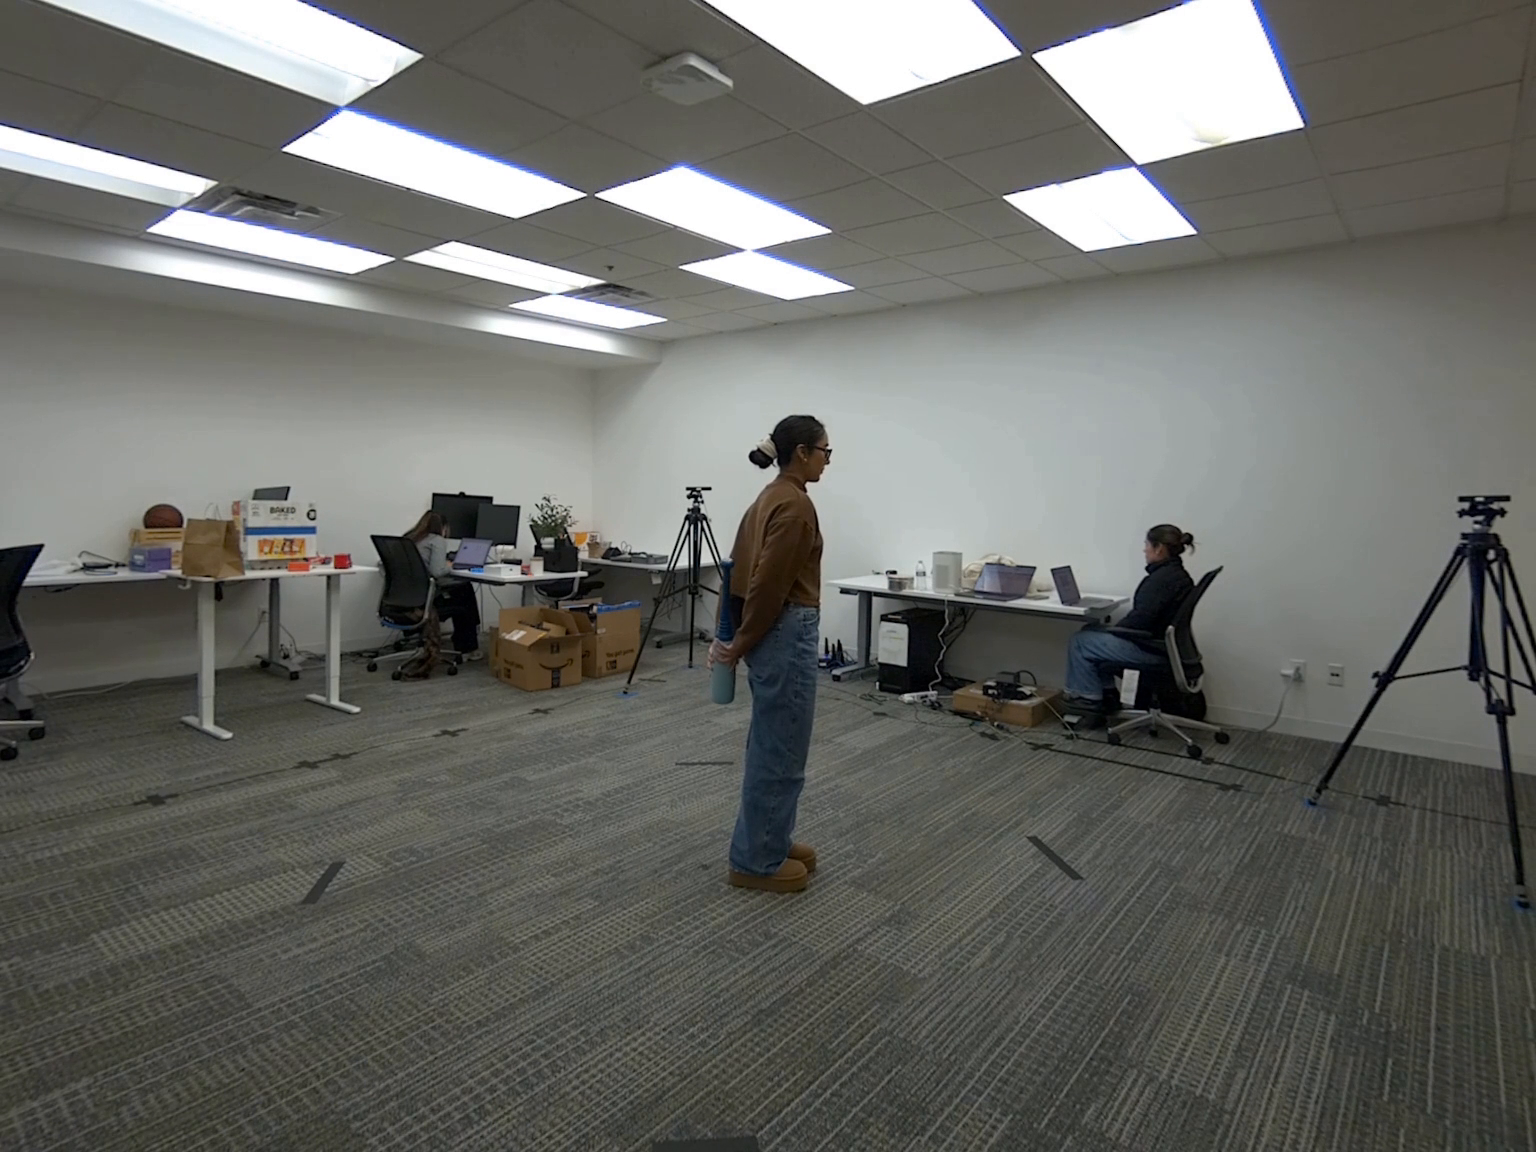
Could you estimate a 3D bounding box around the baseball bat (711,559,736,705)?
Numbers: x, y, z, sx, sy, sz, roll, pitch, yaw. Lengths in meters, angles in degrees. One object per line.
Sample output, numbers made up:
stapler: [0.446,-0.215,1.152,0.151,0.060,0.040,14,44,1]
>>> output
baseball bat: [-0.163,0.194,2.963,0.089,0.534,0.091,1,18,-2]
